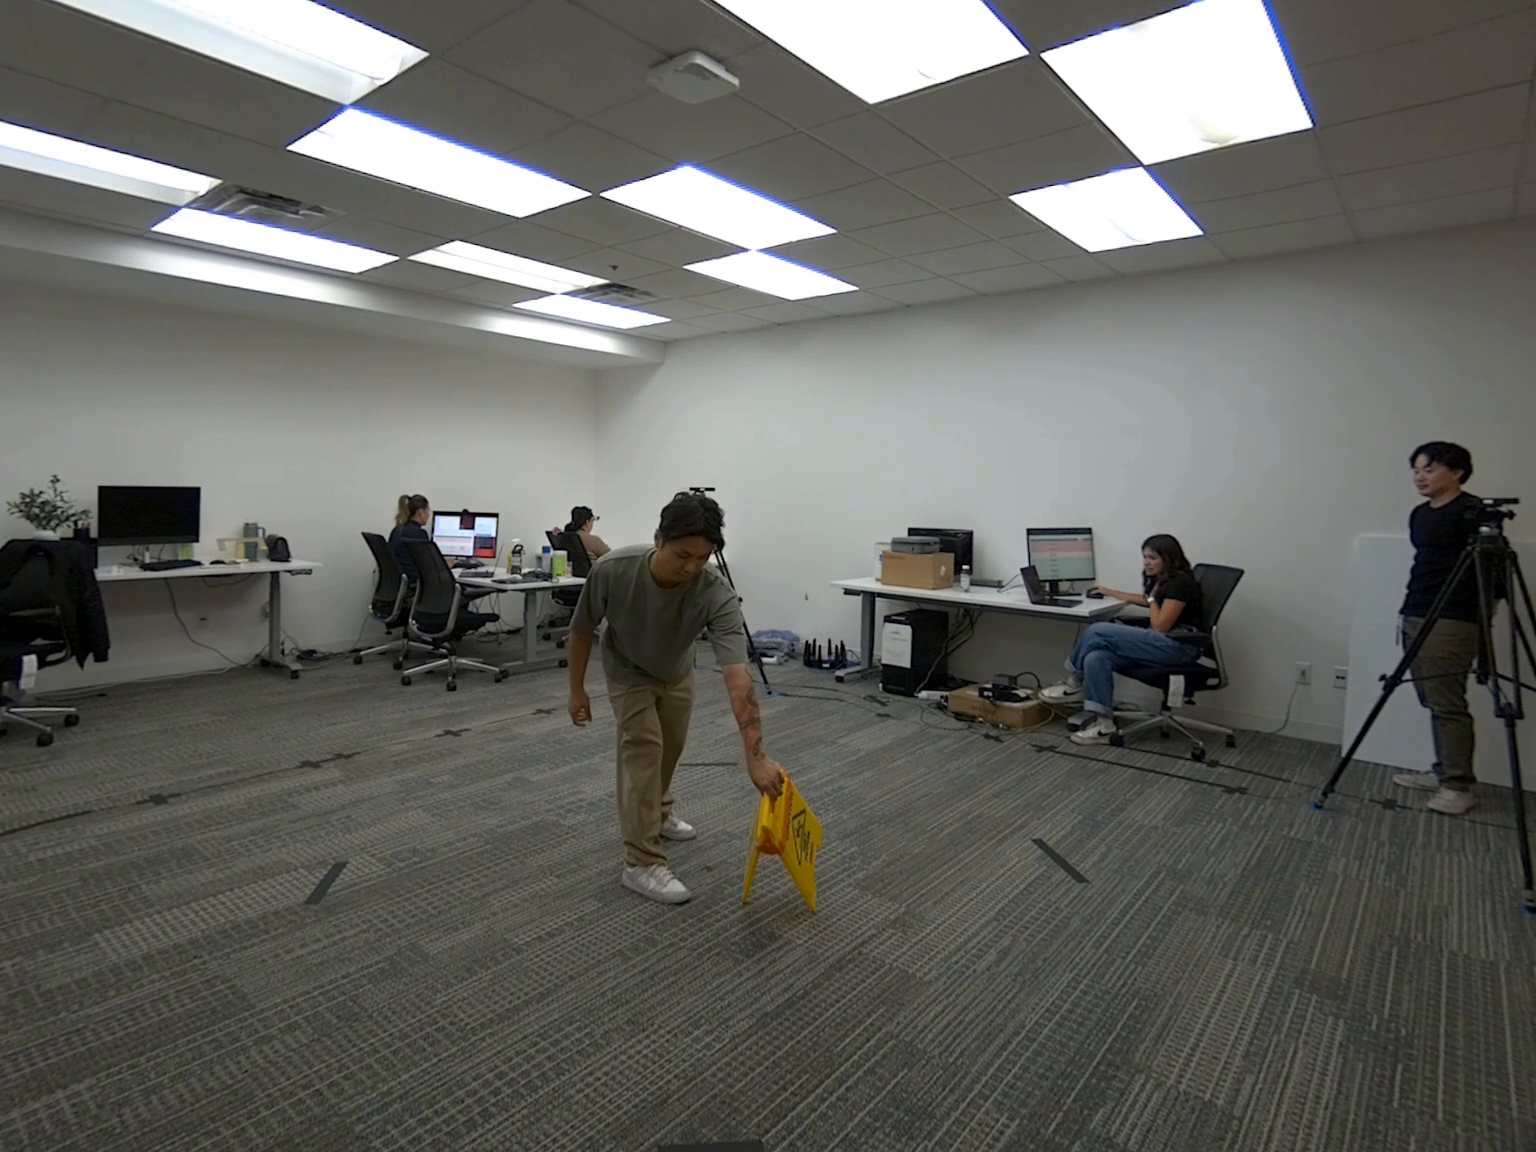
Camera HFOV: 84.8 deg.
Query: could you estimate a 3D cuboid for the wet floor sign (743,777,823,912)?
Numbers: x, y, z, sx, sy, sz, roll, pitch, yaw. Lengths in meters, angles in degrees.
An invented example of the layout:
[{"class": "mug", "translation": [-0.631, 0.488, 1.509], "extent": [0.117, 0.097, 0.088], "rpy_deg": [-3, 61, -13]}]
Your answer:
[{"class": "wet floor sign", "translation": [0.024, 0.801, 2.668], "extent": [0.293, 0.289, 0.625], "rpy_deg": [3, -37, 8]}]
